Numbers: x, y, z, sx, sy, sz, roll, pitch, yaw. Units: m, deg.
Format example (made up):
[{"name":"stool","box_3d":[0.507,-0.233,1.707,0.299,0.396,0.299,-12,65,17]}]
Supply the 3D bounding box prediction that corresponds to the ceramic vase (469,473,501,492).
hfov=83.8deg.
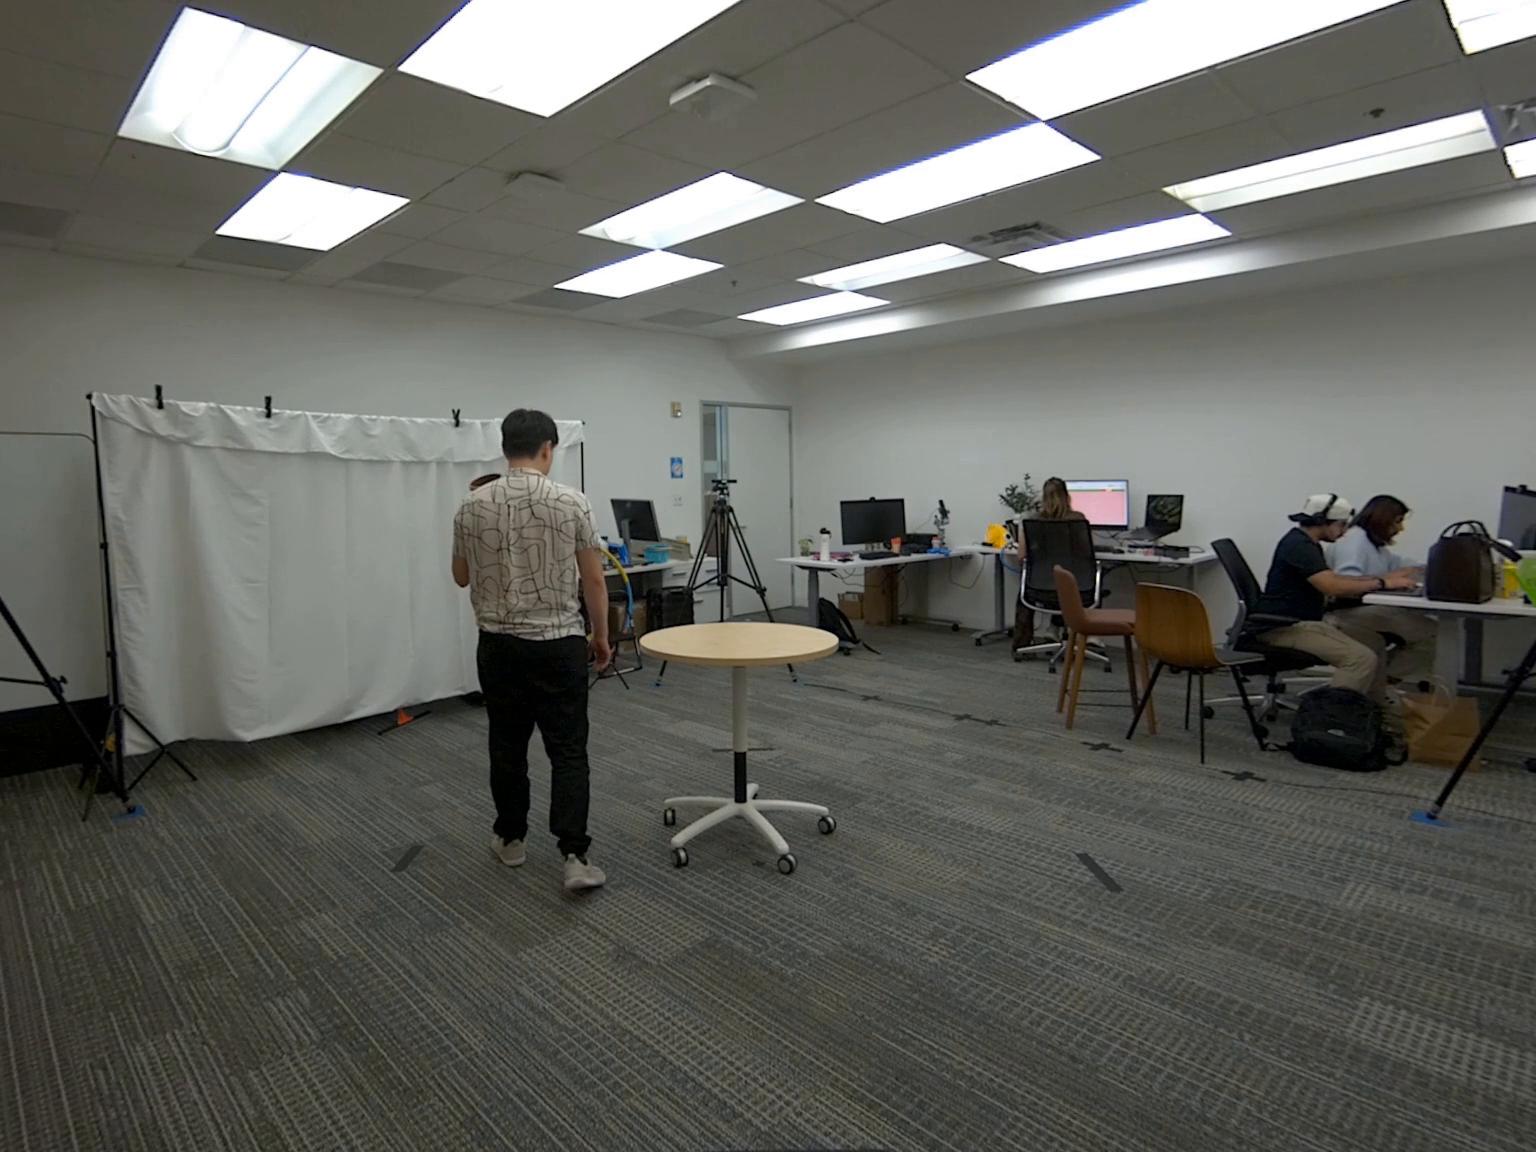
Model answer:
[{"name":"ceramic vase","box_3d":[-1.053,-0.271,3.319,0.134,0.214,0.164,-18,27,-9]}]
